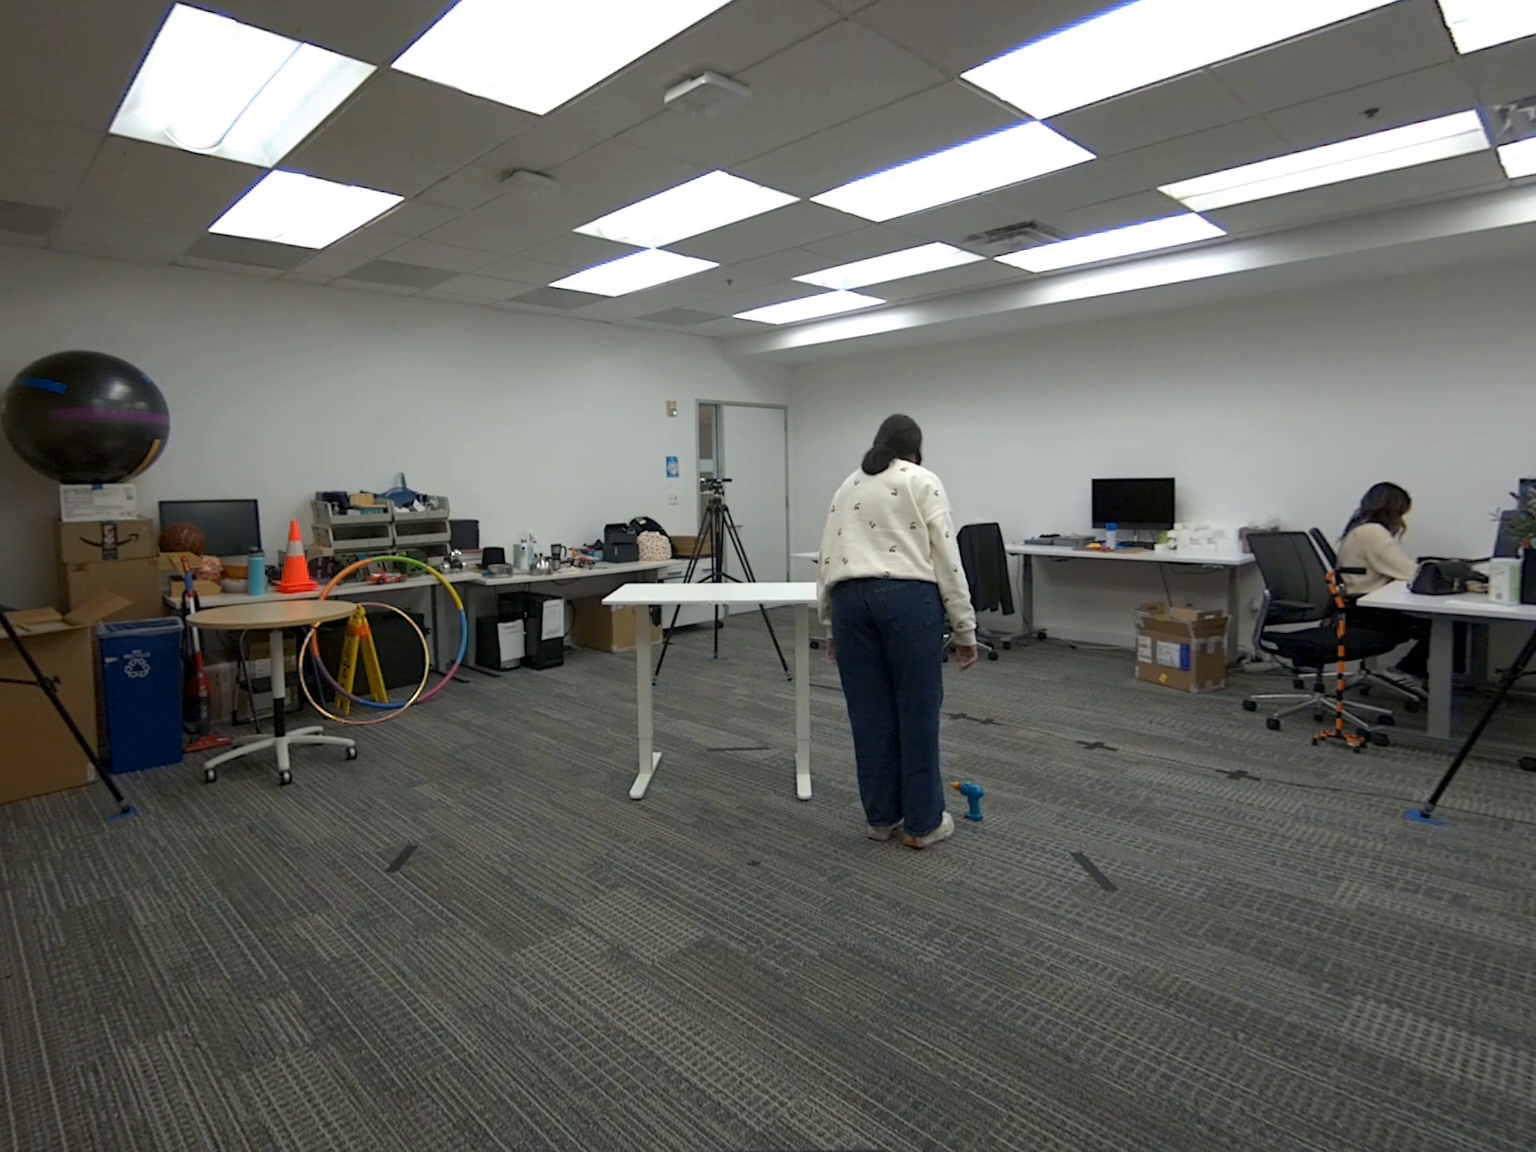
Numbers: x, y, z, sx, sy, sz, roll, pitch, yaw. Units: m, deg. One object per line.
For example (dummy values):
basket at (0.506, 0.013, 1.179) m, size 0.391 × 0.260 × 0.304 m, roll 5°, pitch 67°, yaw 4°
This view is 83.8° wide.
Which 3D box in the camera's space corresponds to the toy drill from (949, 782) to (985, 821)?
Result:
toy drill at (0.815, 0.913, 3.510) m, size 0.059 × 0.146 × 0.175 m, roll -2°, pitch 4°, yaw -41°
